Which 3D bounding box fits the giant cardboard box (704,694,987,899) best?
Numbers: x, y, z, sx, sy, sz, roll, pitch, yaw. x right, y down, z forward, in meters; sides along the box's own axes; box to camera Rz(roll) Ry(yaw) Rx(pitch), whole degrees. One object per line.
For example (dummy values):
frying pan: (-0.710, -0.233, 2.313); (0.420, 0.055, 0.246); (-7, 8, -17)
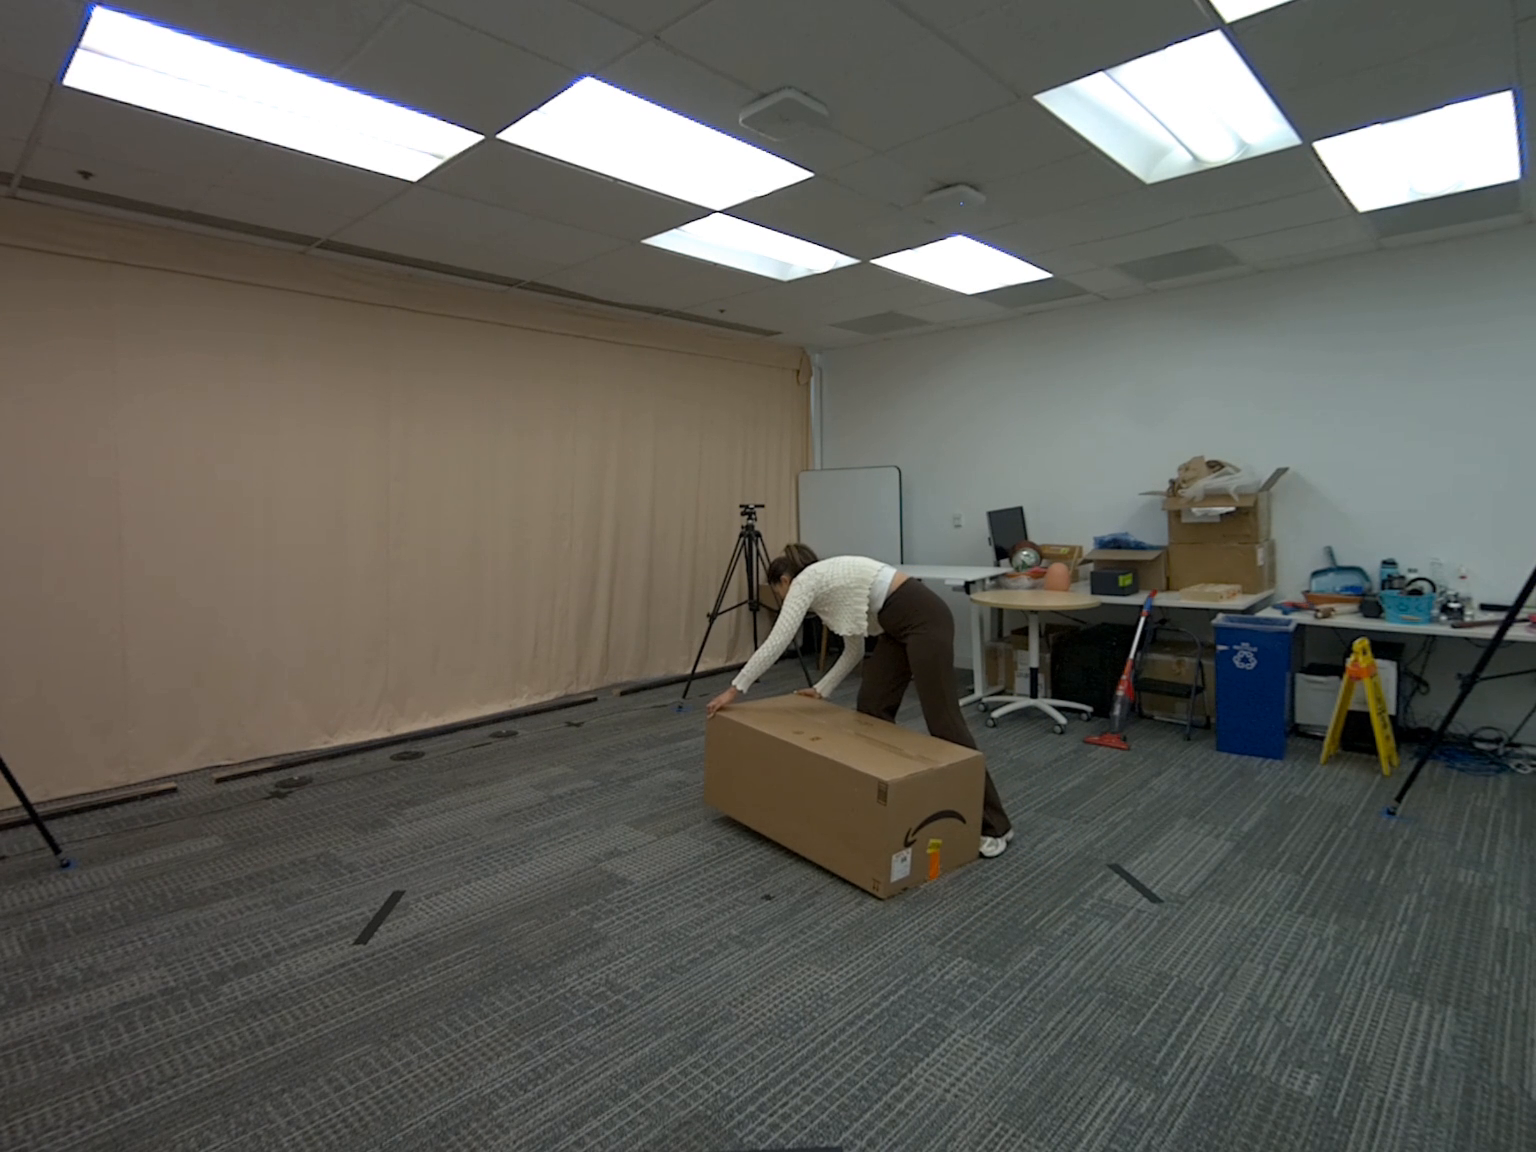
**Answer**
giant cardboard box: (0.273, 0.846, 3.475); (0.560, 0.425, 1.061); (-3, 8, -40)
